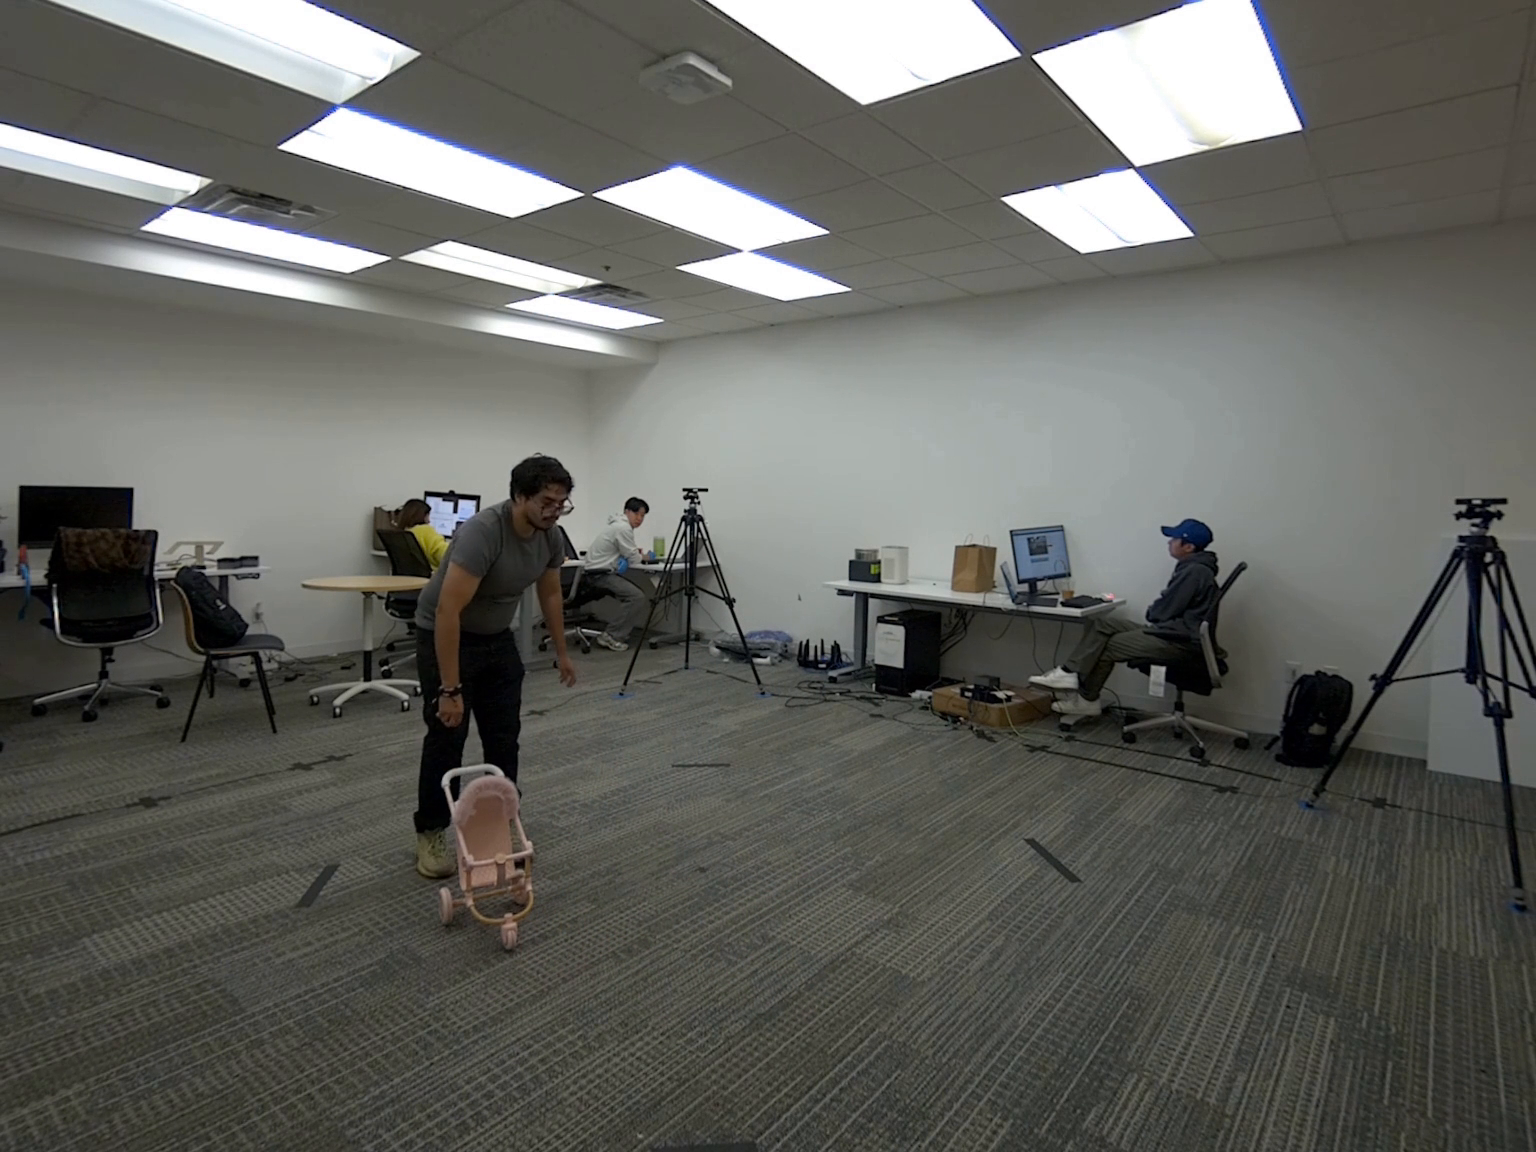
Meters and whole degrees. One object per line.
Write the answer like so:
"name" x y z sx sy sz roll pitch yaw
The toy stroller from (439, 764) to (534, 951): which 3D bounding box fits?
"toy stroller" -0.893 0.874 2.697 0.274 0.541 0.347 -1 -12 -32
